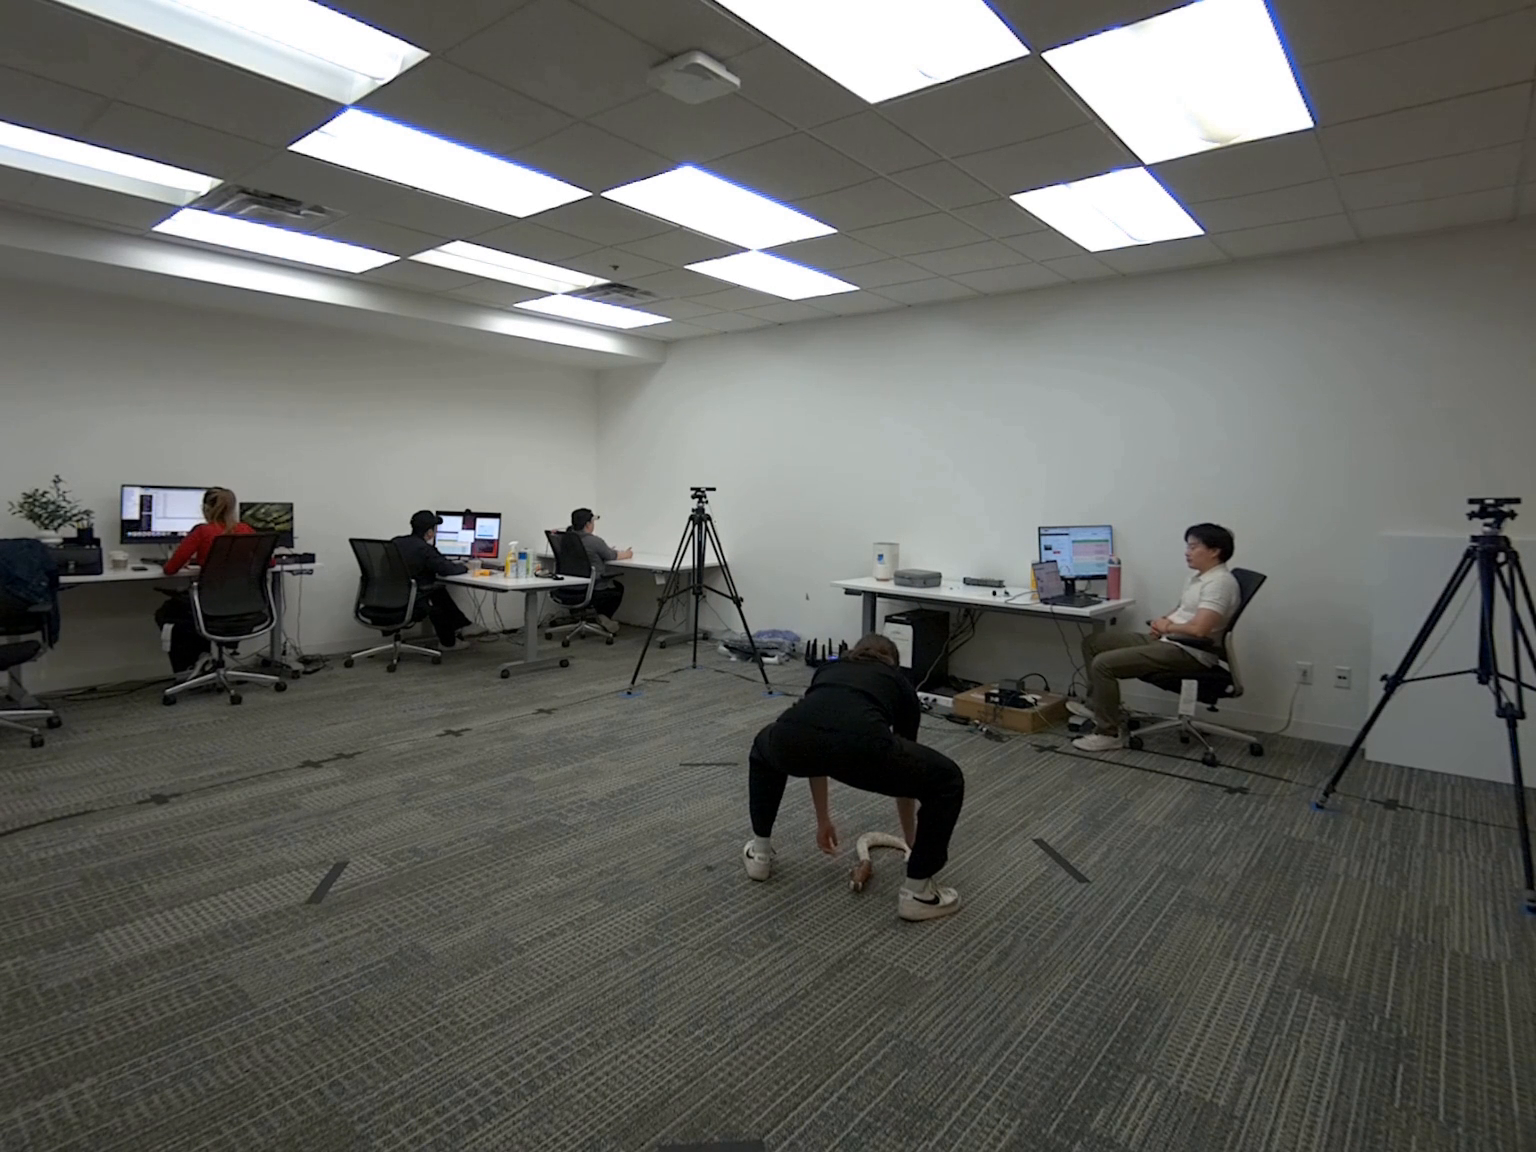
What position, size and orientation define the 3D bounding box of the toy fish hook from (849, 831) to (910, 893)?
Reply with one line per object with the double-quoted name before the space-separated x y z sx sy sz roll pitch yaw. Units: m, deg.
"toy fish hook" 0.412 1.053 3.147 0.229 0.048 0.499 1 6 17
